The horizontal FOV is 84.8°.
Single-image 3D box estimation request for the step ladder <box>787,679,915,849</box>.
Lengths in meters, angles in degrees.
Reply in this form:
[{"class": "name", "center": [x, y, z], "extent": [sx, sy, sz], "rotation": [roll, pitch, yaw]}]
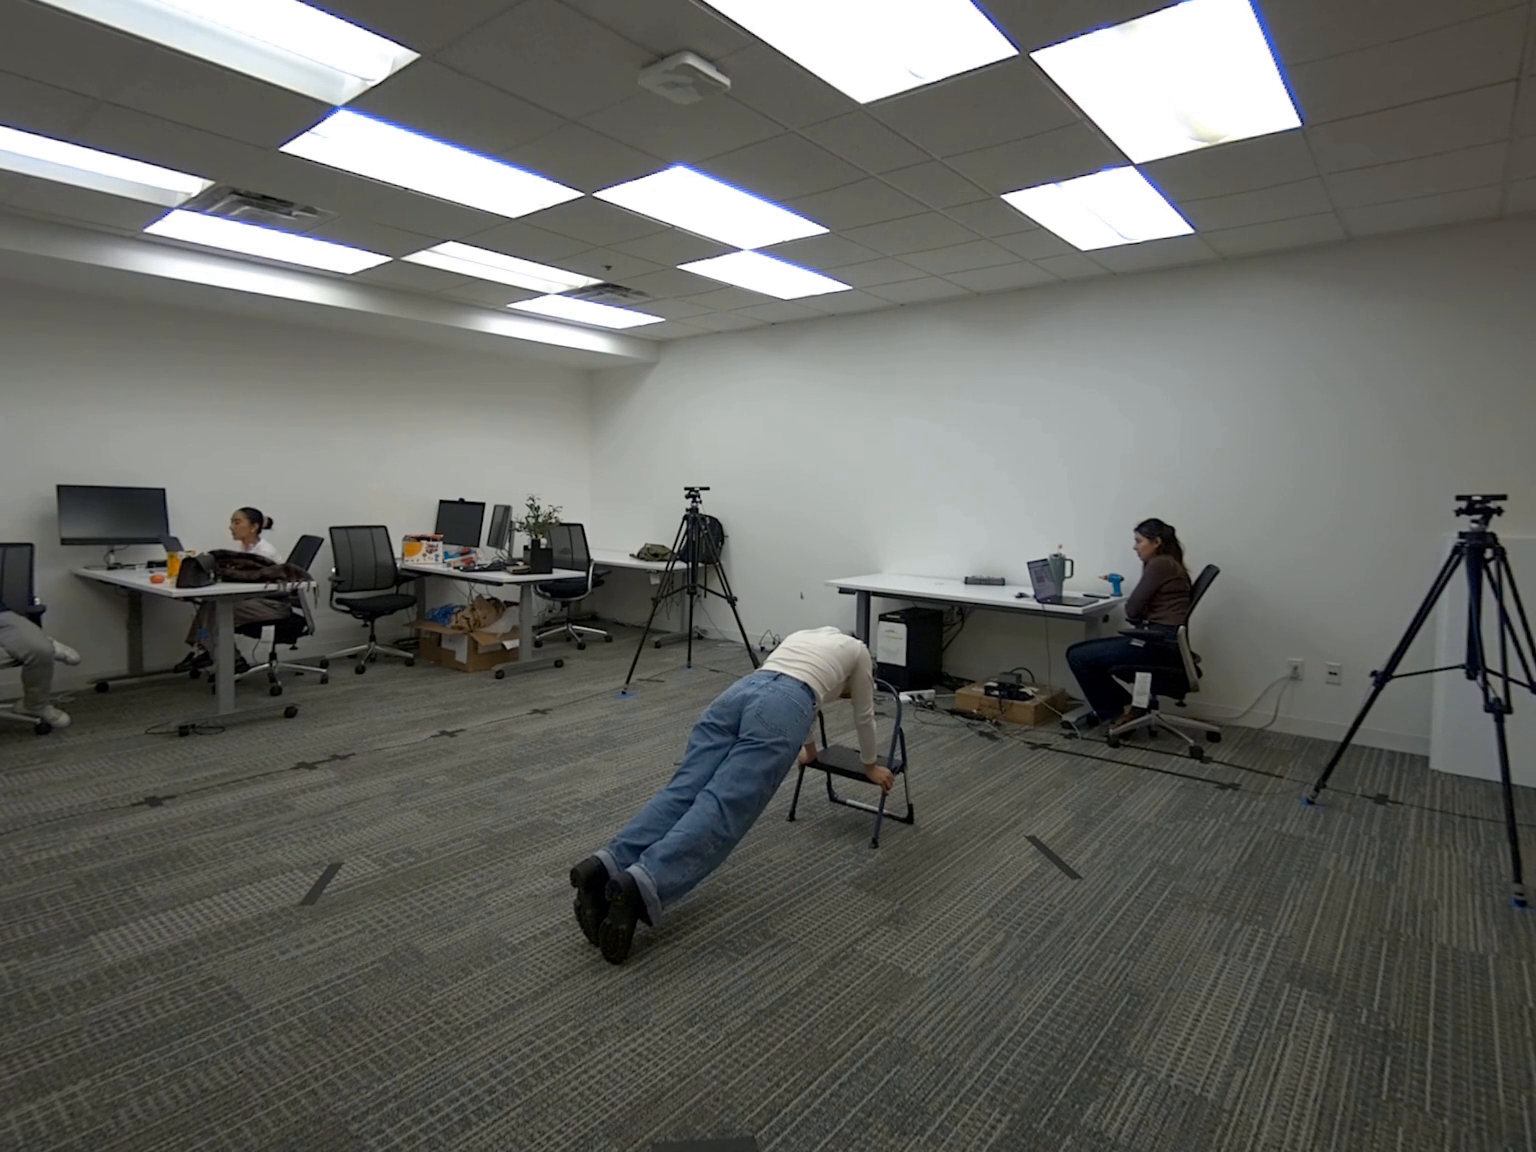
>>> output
[{"class": "step ladder", "center": [0.352, 0.730, 3.562], "extent": [0.445, 0.604, 0.339], "rotation": [4, 5, 38]}]
